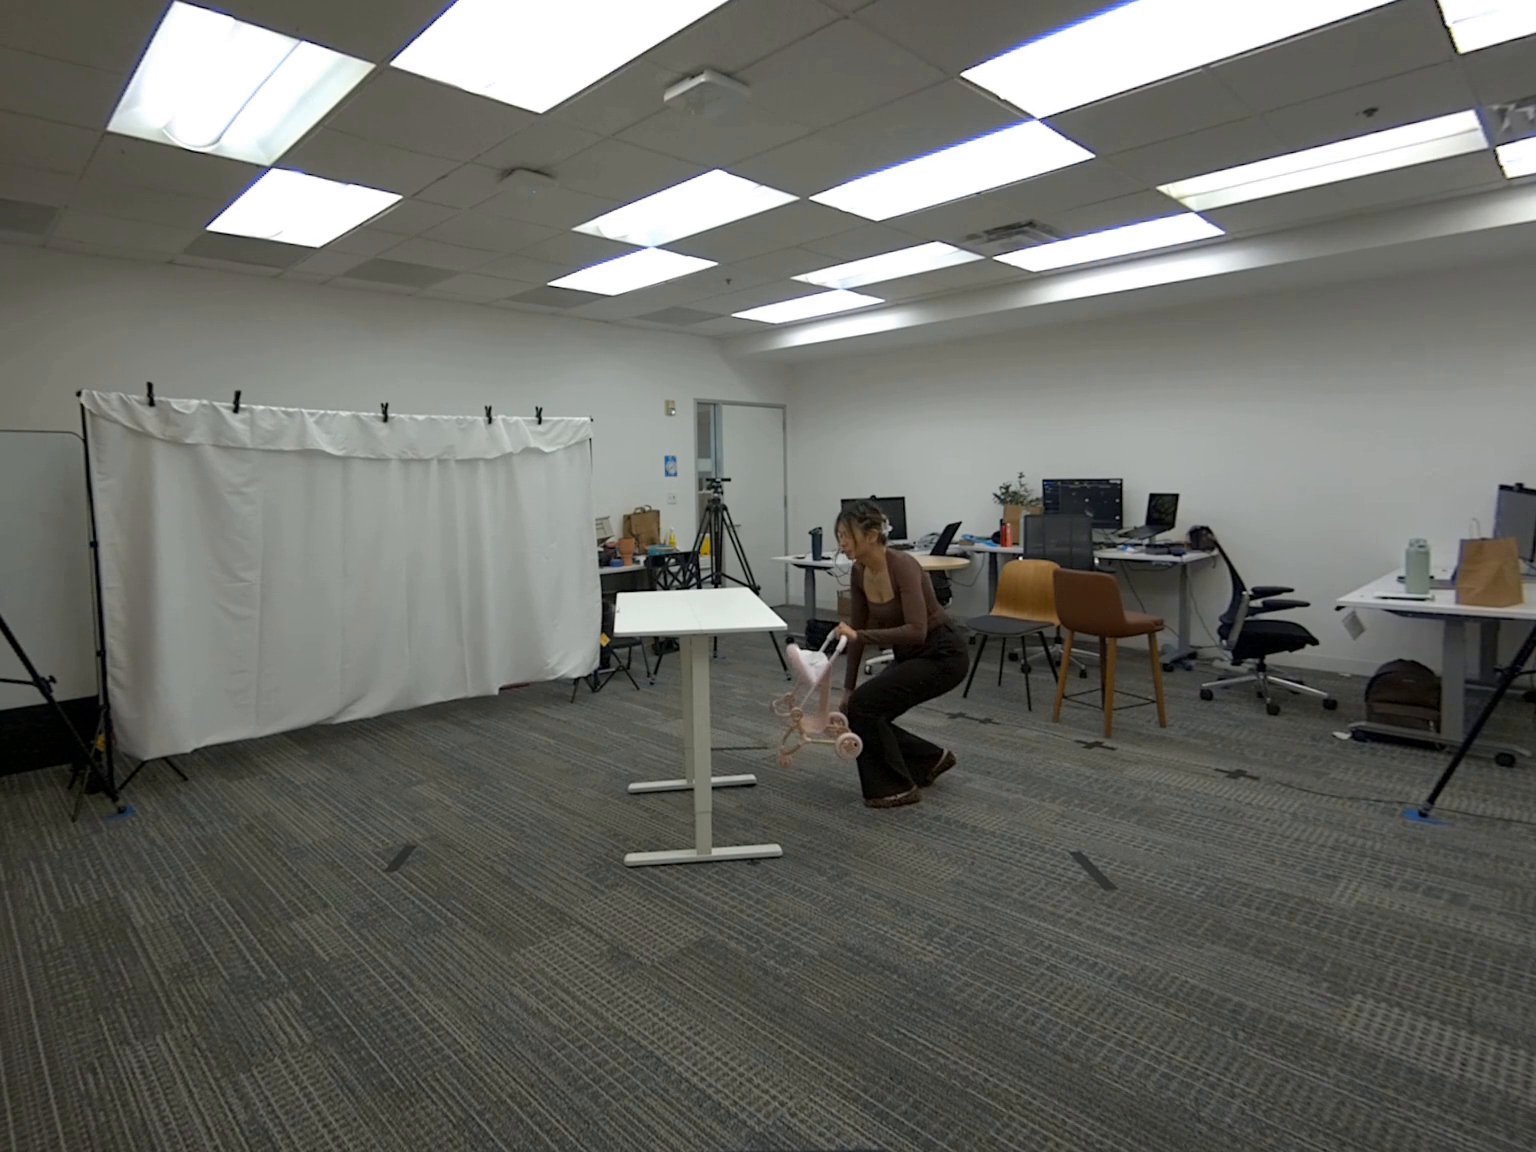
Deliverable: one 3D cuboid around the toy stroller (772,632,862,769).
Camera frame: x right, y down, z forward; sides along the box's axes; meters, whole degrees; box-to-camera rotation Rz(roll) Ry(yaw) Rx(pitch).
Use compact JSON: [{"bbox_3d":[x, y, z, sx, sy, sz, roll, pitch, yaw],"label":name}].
[{"bbox_3d":[0.166,0.504,3.422,0.341,0.530,0.284,-7,9,0],"label":"toy stroller"}]
